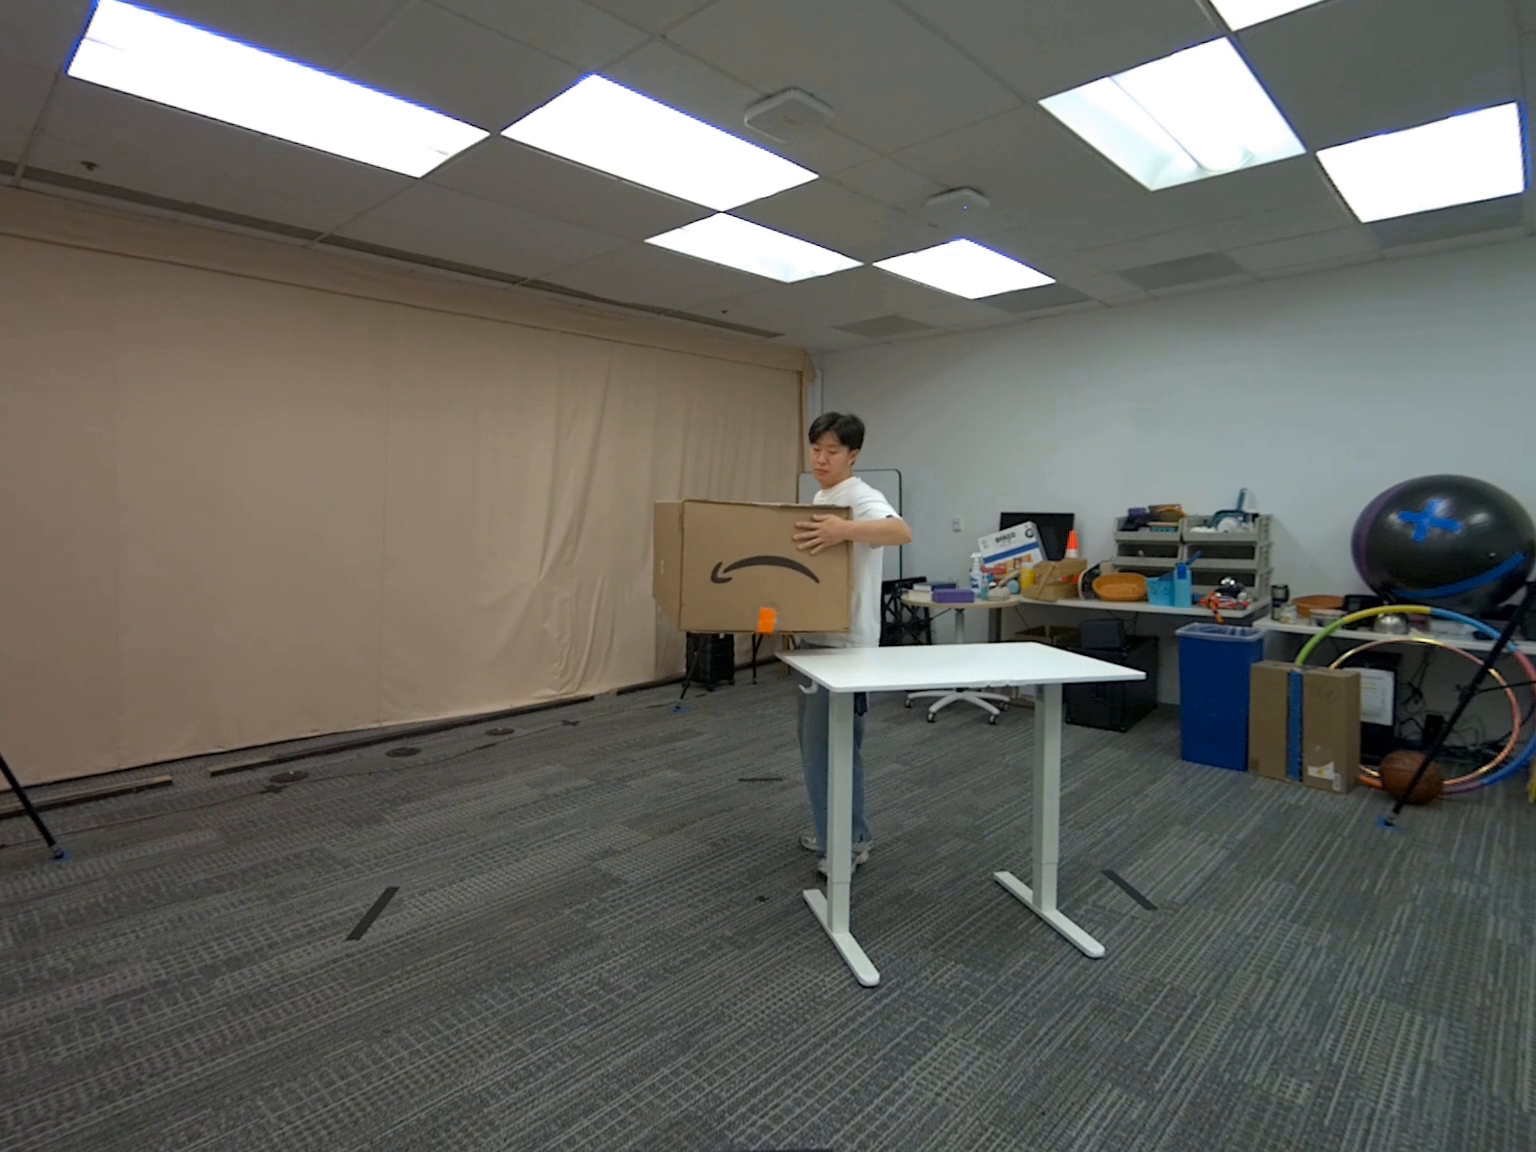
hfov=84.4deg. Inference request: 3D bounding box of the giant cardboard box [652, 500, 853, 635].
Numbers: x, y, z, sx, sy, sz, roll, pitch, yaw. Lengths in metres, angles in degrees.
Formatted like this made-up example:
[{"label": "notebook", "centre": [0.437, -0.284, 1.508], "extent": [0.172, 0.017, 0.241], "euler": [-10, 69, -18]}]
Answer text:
[{"label": "giant cardboard box", "centre": [-0.122, -0.066, 3.245], "extent": [0.571, 0.425, 1.040], "euler": [1, 4, -12]}]
